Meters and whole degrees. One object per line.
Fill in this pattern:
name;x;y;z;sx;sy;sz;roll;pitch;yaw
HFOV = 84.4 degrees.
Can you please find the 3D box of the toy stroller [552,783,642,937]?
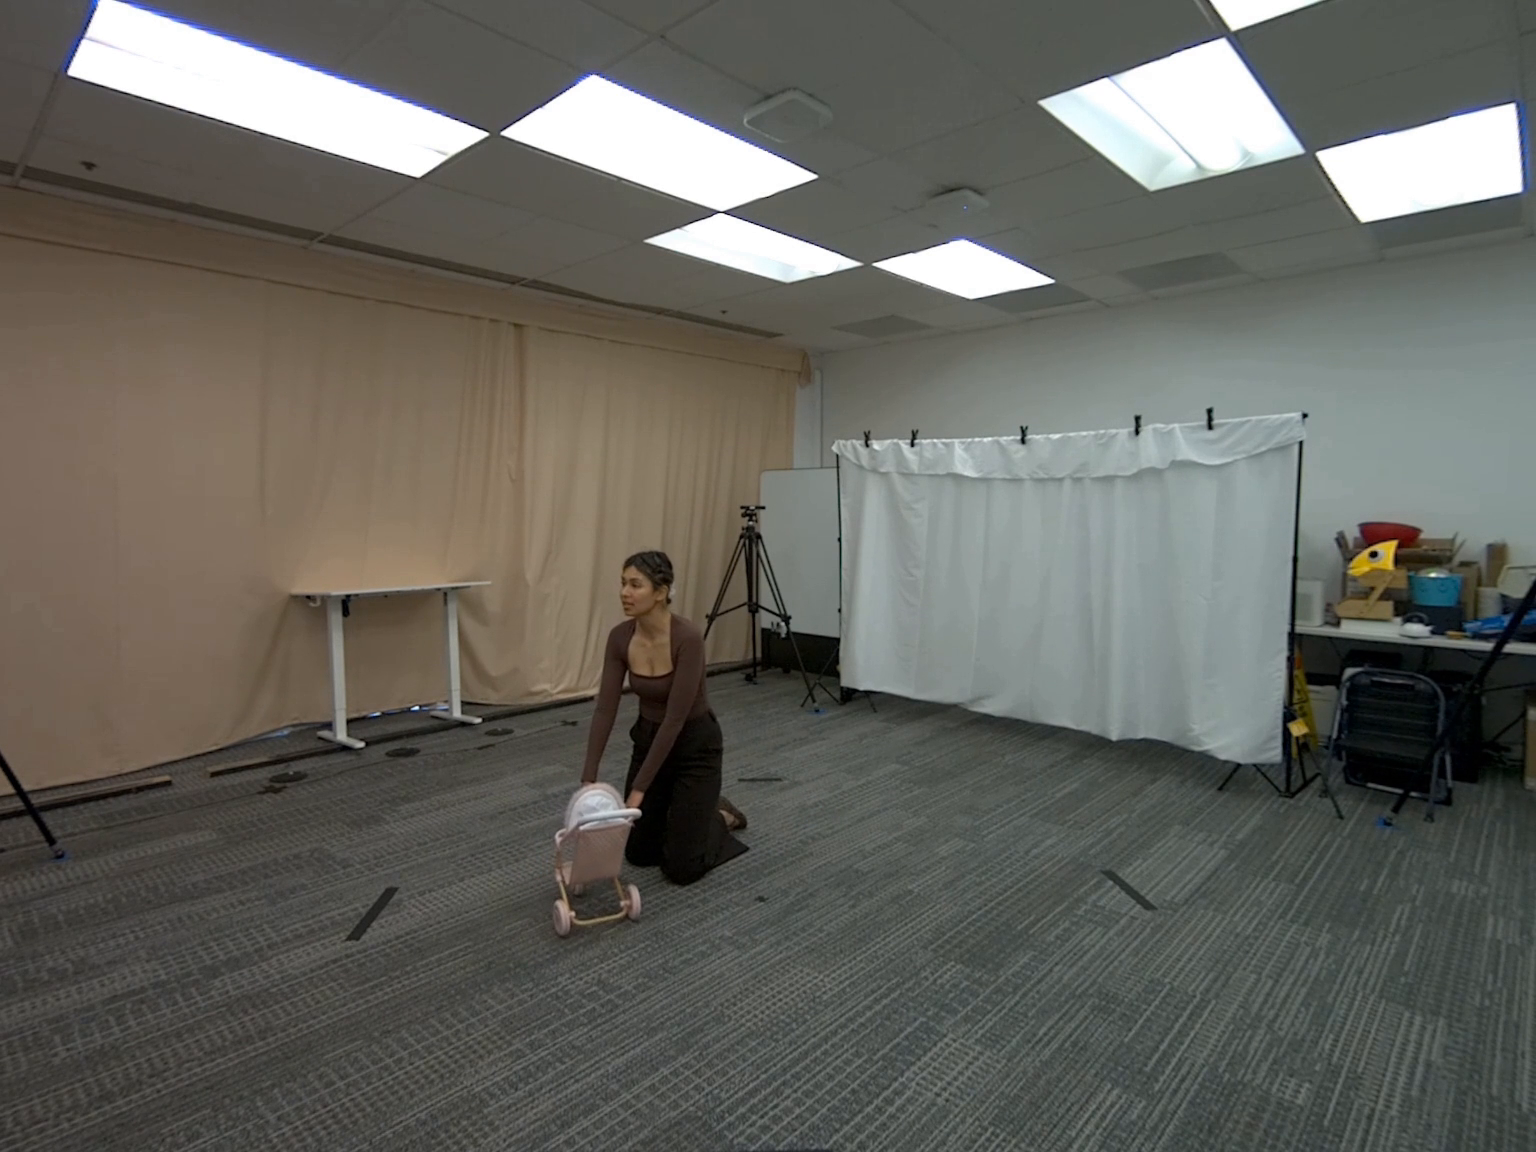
toy stroller;-0.588;0.931;2.848;0.275;0.531;0.352;0;18;-24
